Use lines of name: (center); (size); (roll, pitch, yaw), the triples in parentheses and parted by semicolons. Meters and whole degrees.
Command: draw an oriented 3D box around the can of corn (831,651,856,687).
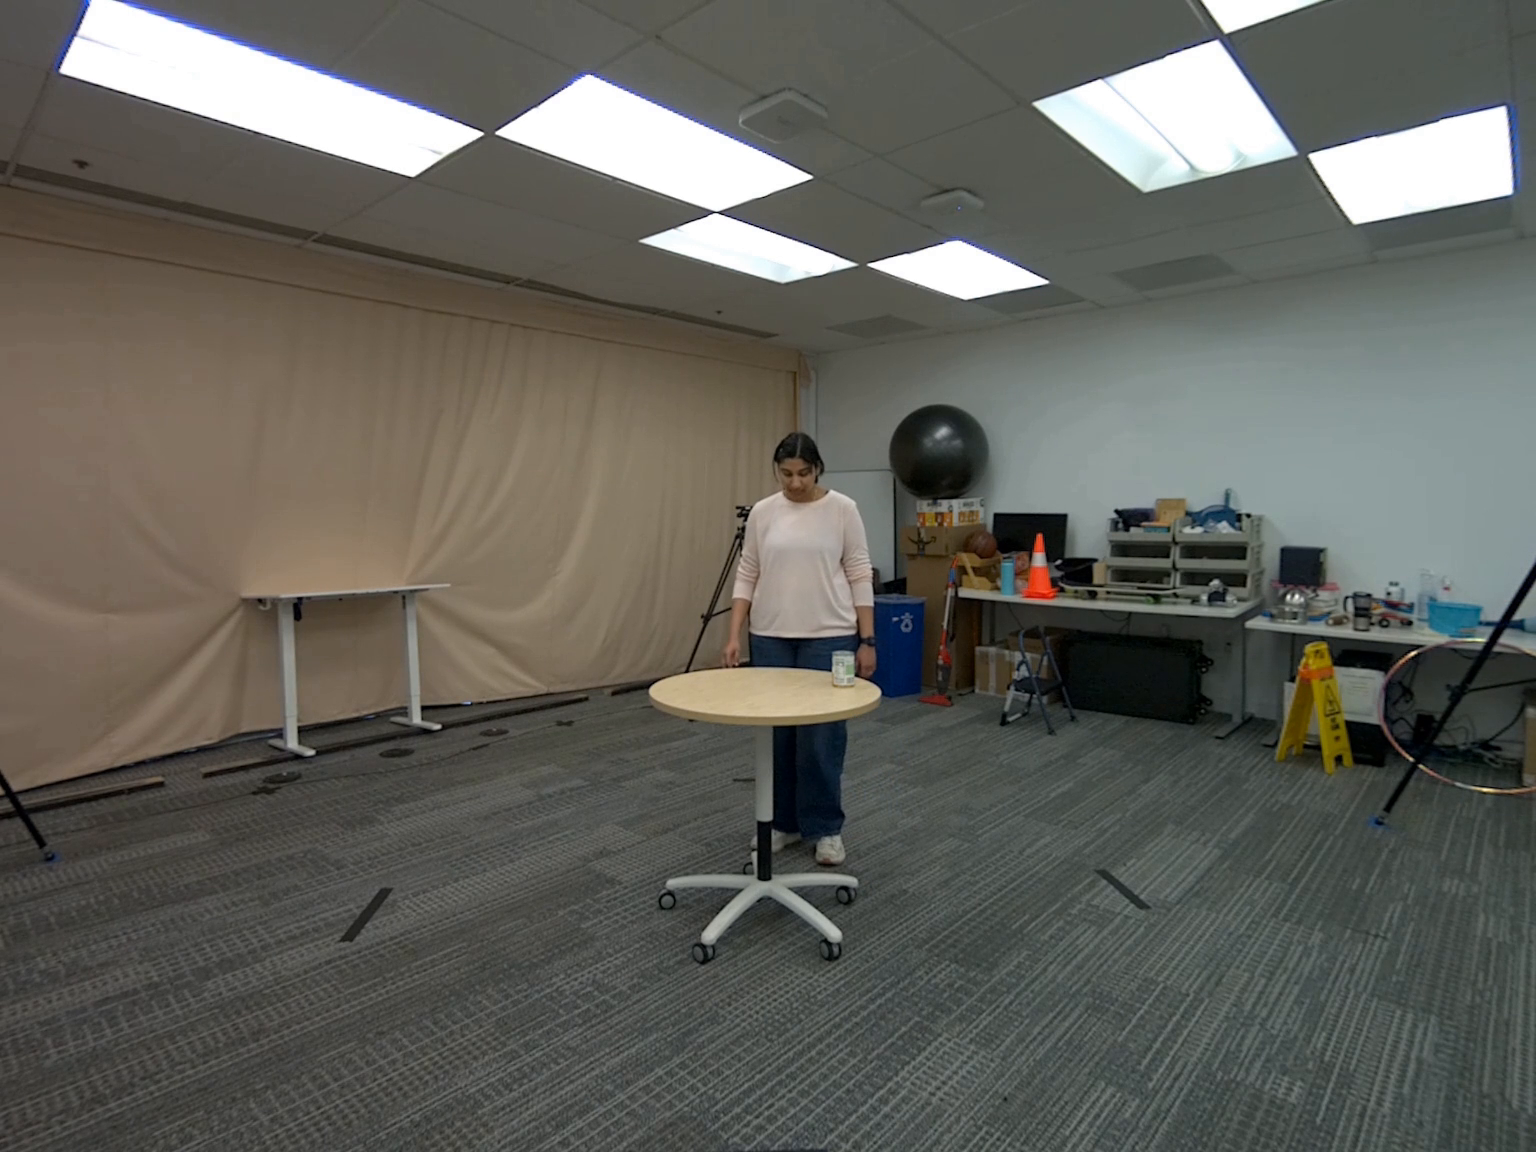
can of corn: (0.252, 0.315, 2.838); (0.074, 0.111, 0.074); (0, -1, -2)
